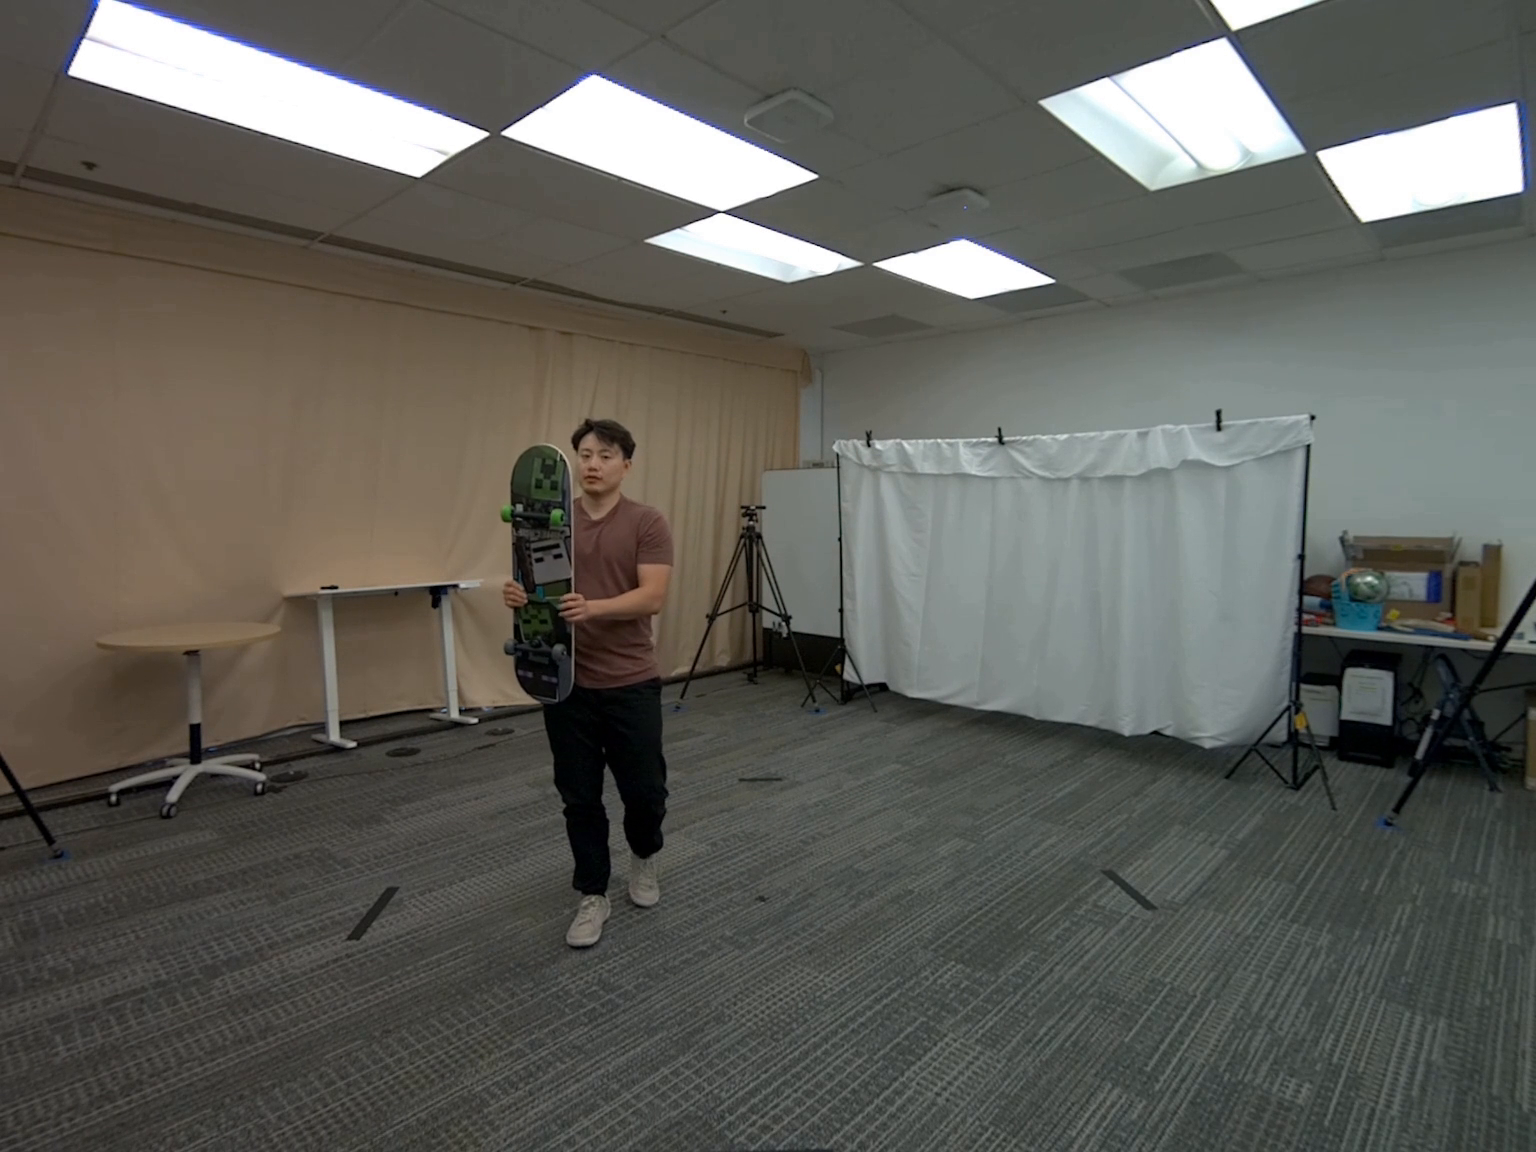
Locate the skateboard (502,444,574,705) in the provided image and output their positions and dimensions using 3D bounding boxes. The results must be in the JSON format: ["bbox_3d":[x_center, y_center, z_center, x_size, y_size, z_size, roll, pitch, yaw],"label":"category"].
[{"bbox_3d":[-0.653,0.023,2.460,0.196,0.779,0.109,5,13,13],"label":"skateboard"}]
